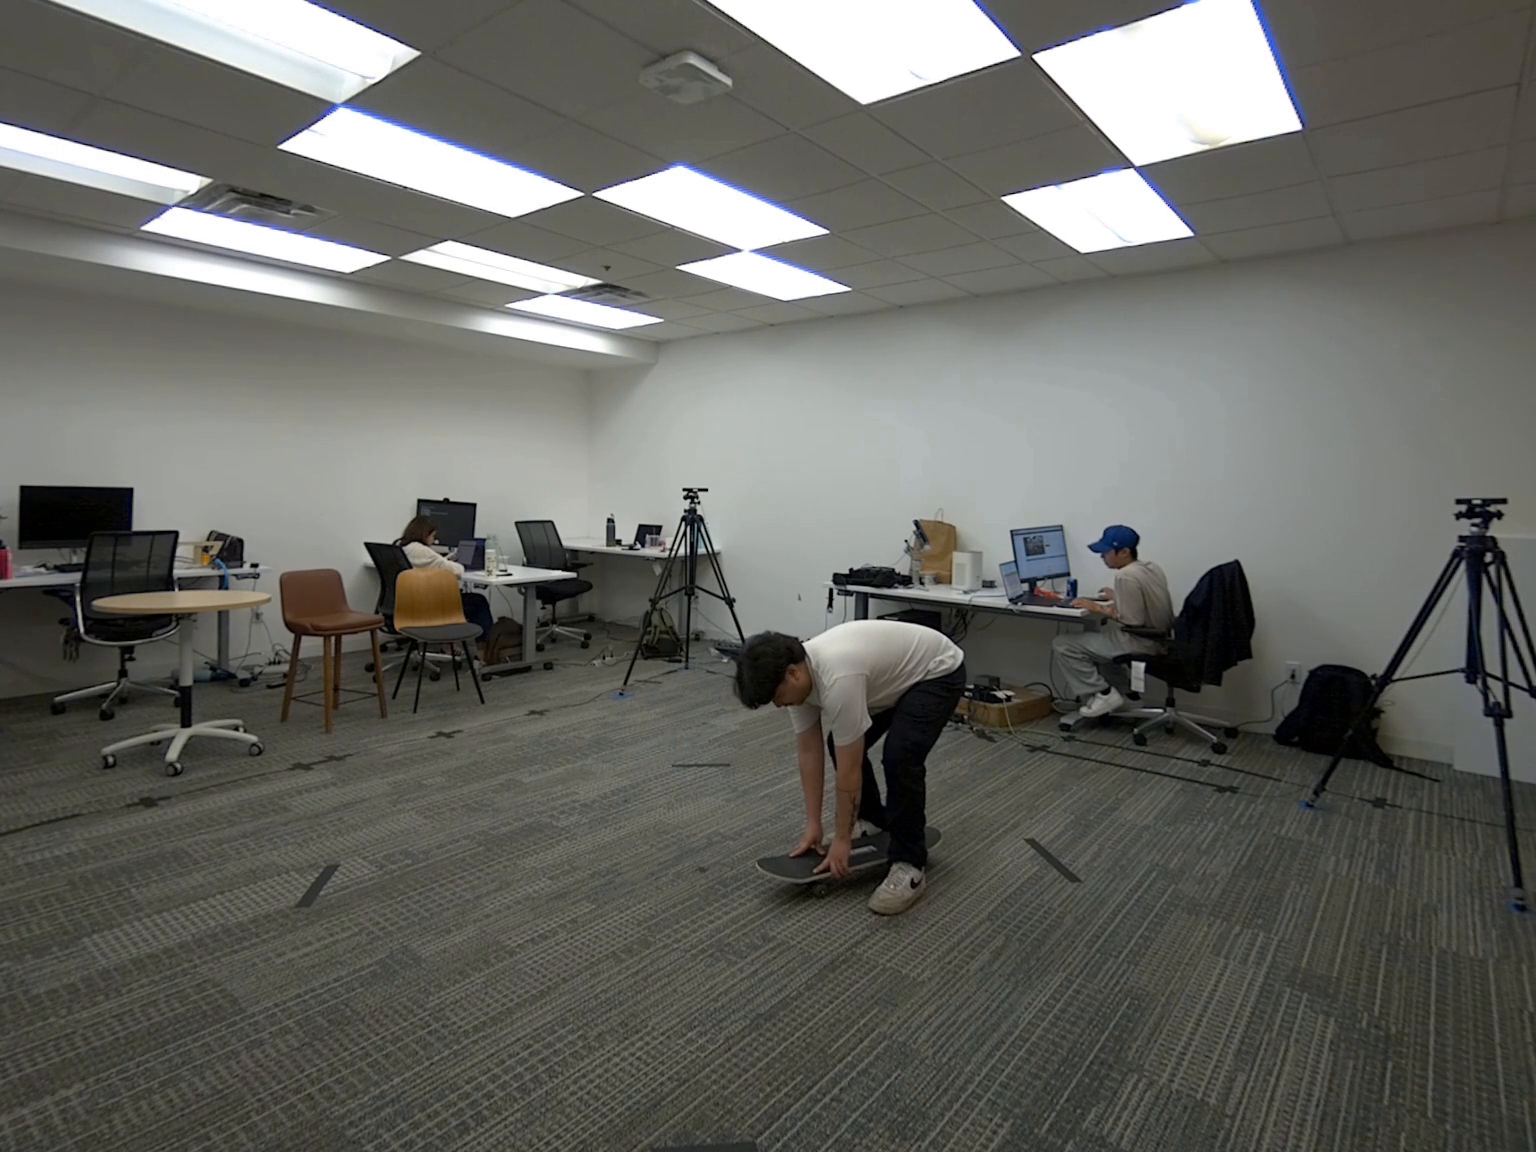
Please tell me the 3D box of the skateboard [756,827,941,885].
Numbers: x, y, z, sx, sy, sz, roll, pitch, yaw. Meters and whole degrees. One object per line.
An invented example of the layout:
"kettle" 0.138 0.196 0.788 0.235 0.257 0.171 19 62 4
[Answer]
"skateboard" 0.301 1.035 3.079 0.765 0.110 0.199 -2 7 -28
